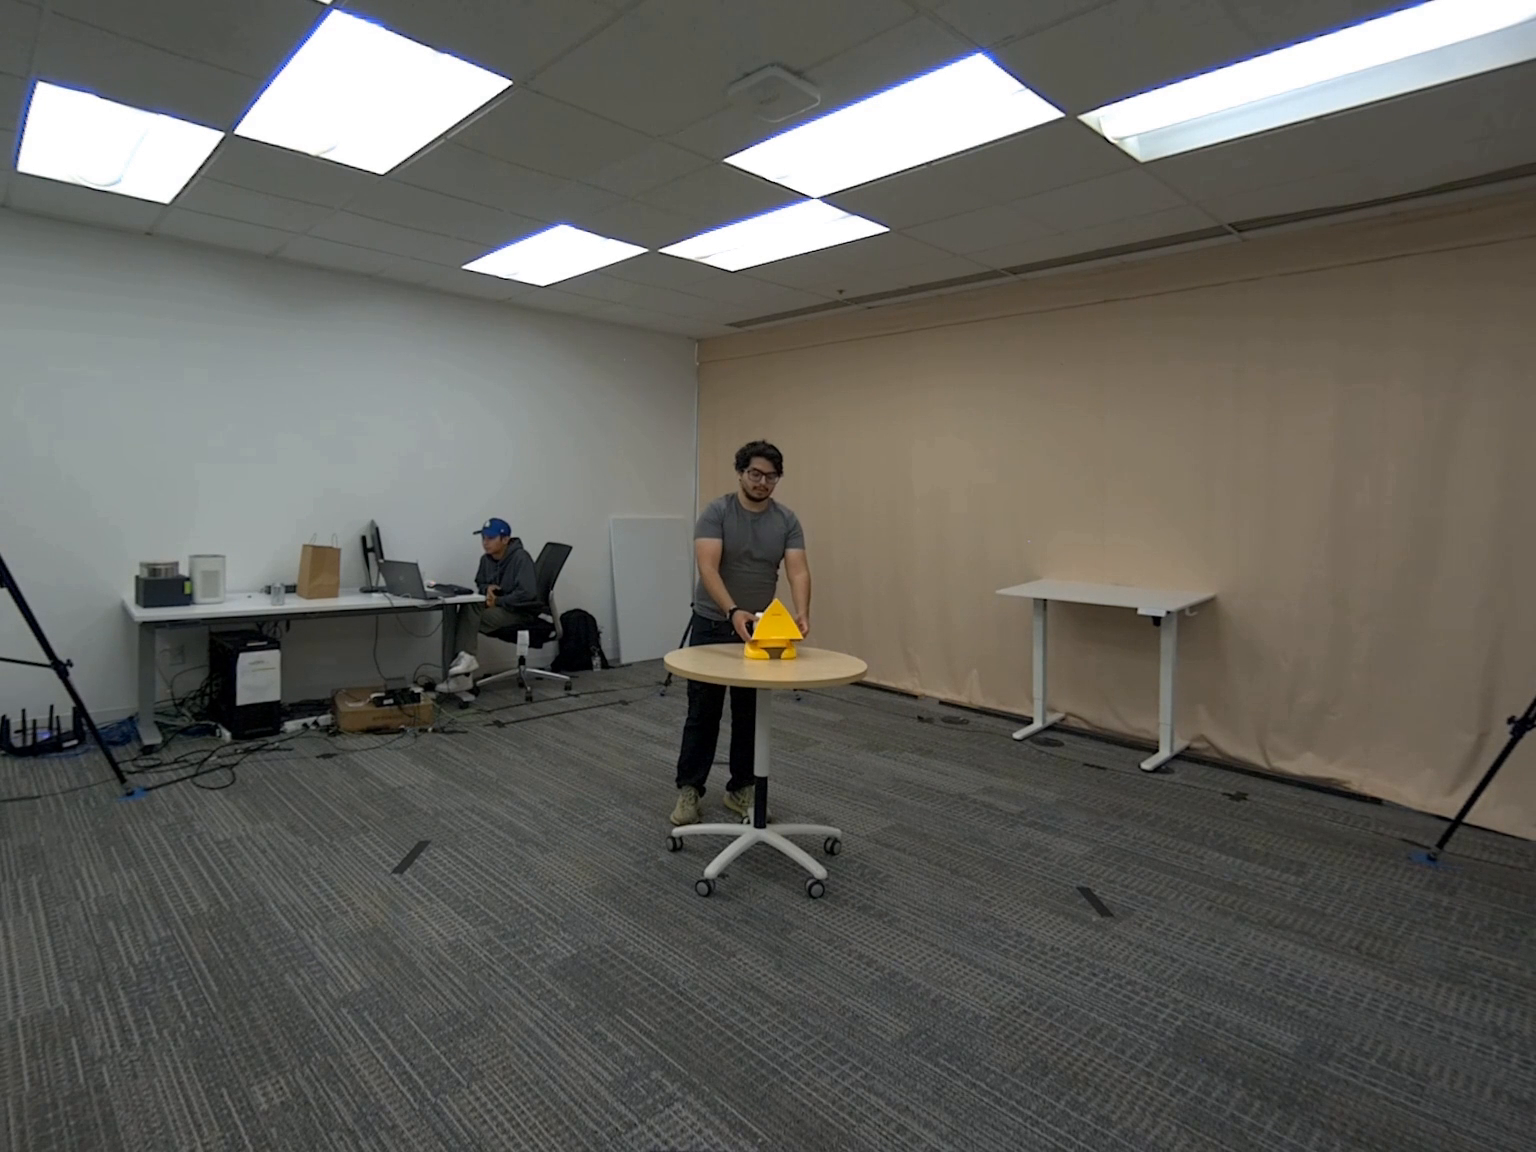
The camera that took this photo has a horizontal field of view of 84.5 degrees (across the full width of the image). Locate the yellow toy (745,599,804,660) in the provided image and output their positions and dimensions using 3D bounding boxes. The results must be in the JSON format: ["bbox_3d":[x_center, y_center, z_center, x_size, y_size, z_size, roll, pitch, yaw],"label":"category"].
[{"bbox_3d":[0.004,0.191,3.275,0.202,0.230,0.196,1,5,-15],"label":"yellow toy"}]
